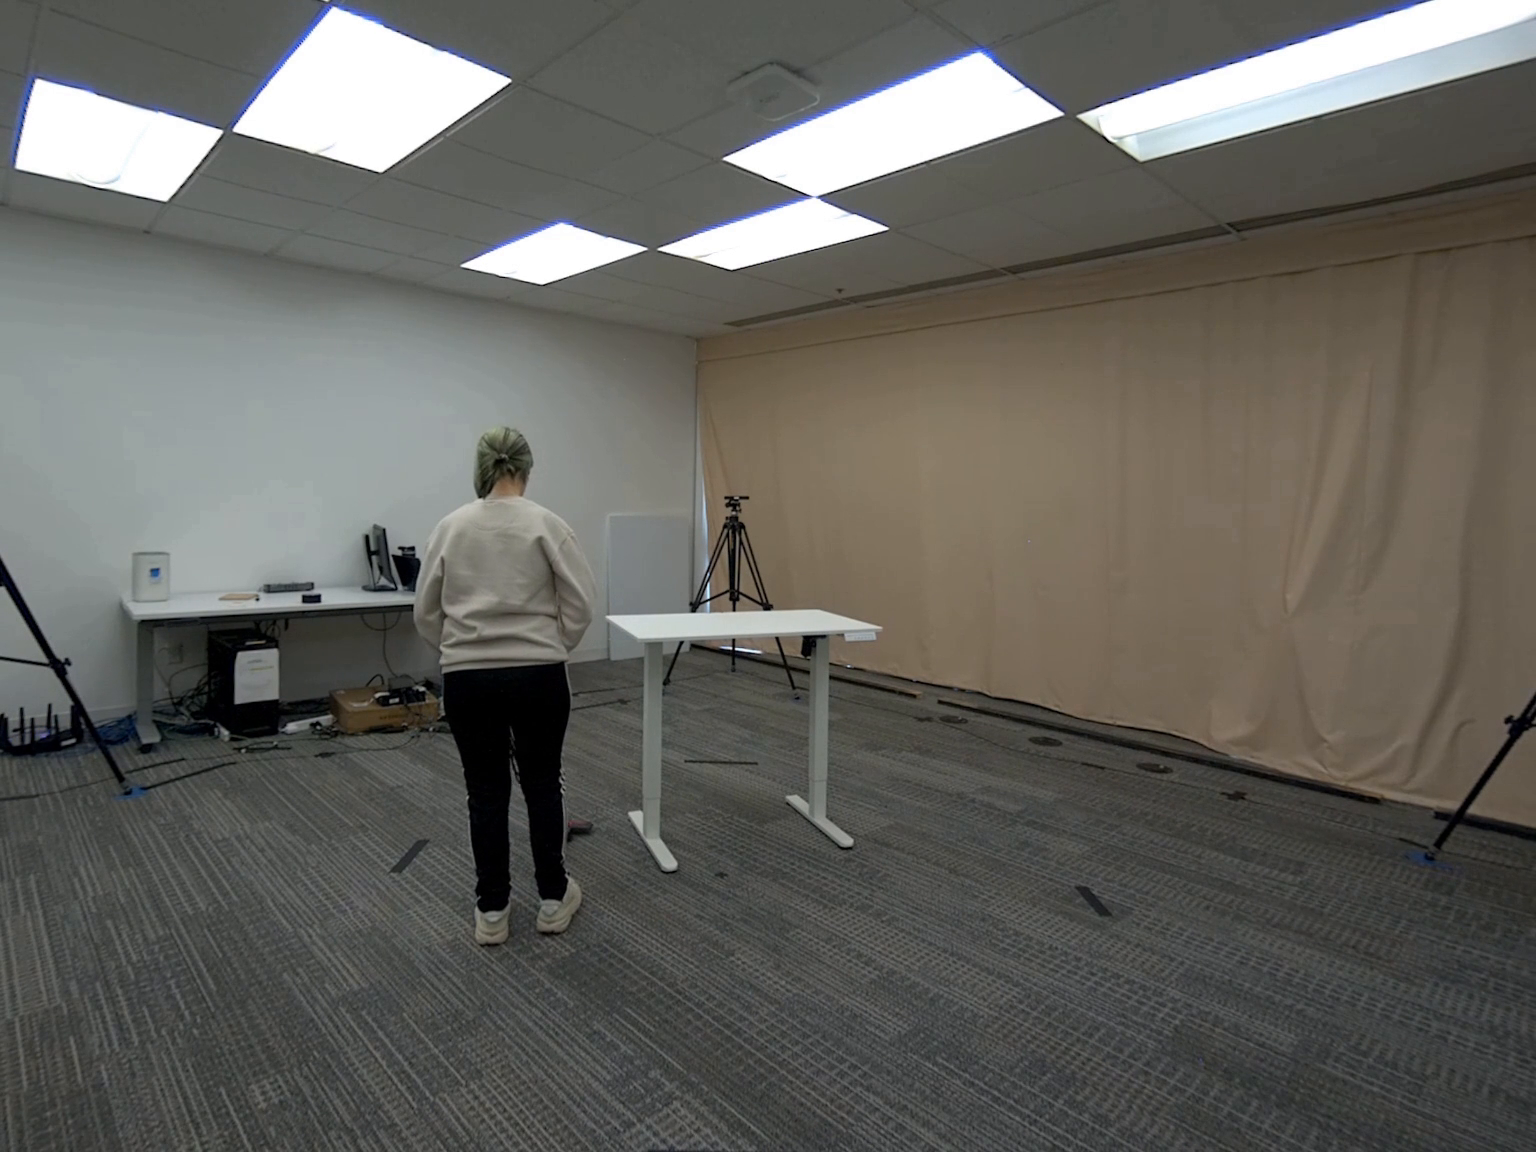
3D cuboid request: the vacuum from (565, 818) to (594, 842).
[{"bbox_3d":[-0.872,0.687,3.060,0.253,1.026,0.147,2,46,1],"label":"vacuum"}]
